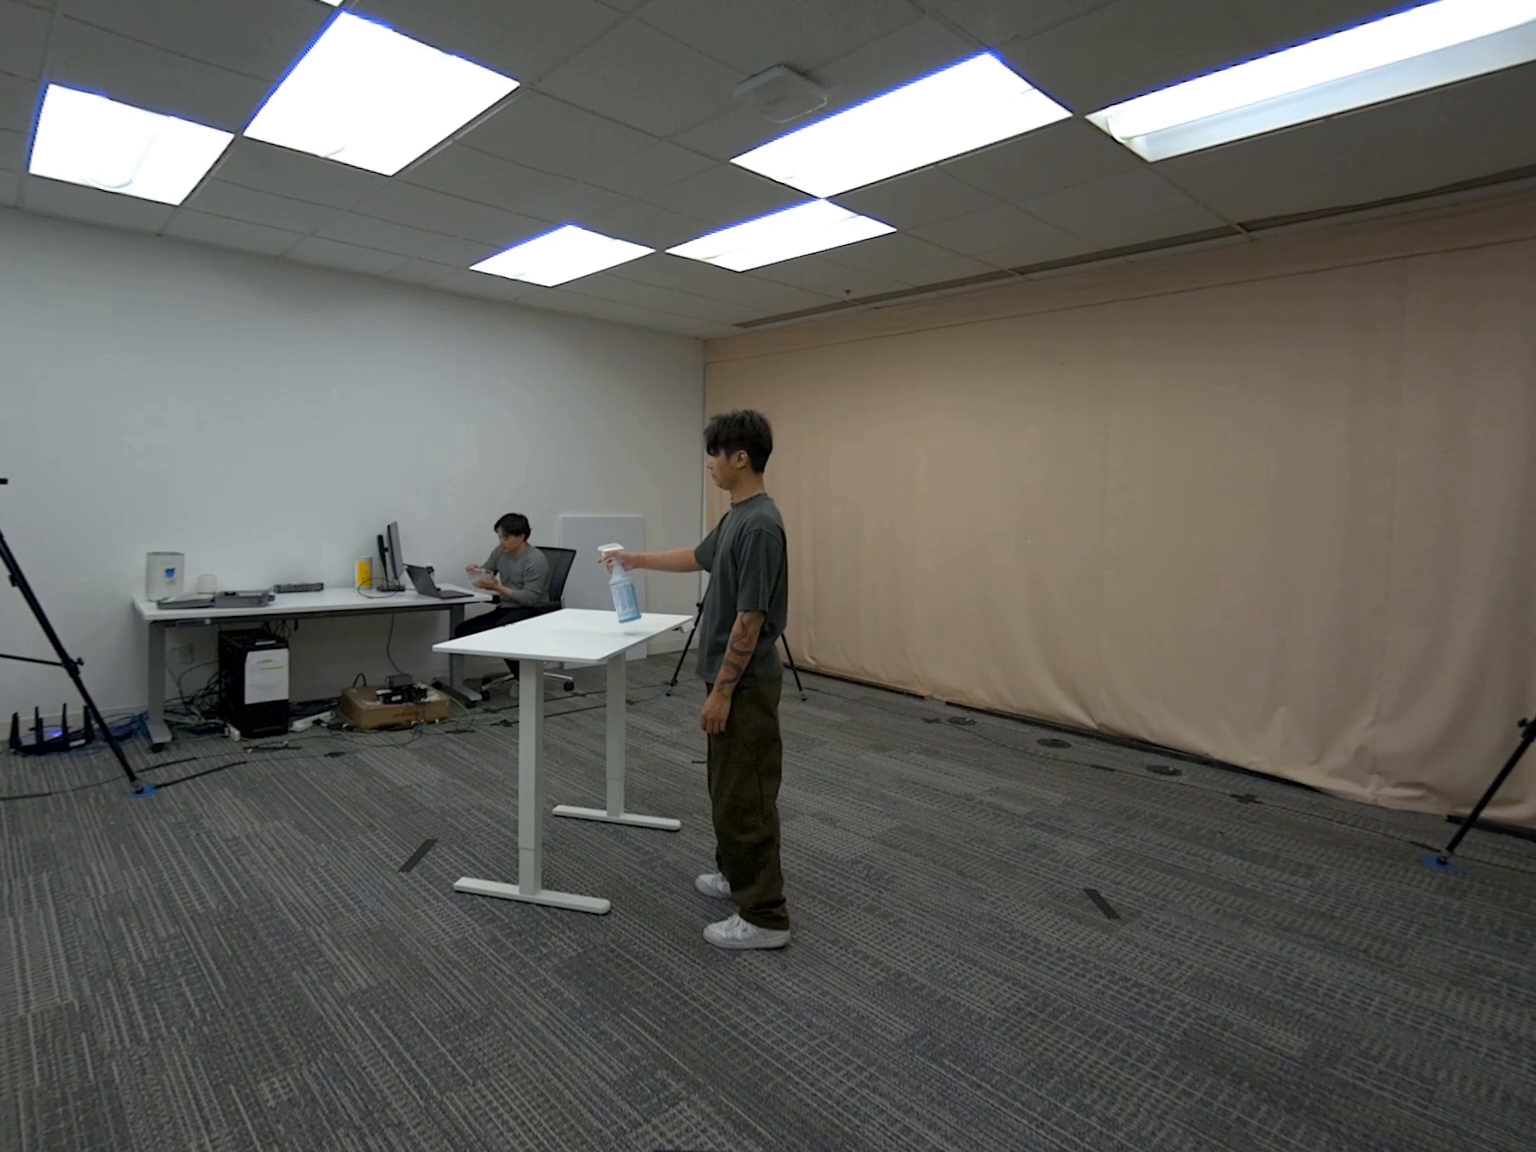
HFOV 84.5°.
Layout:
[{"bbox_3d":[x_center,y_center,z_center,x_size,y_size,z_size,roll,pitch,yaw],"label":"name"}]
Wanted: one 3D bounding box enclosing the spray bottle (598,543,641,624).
[{"bbox_3d":[-0.548,0.025,3.116,0.091,0.298,0.086,-13,-1,24],"label":"spray bottle"}]
